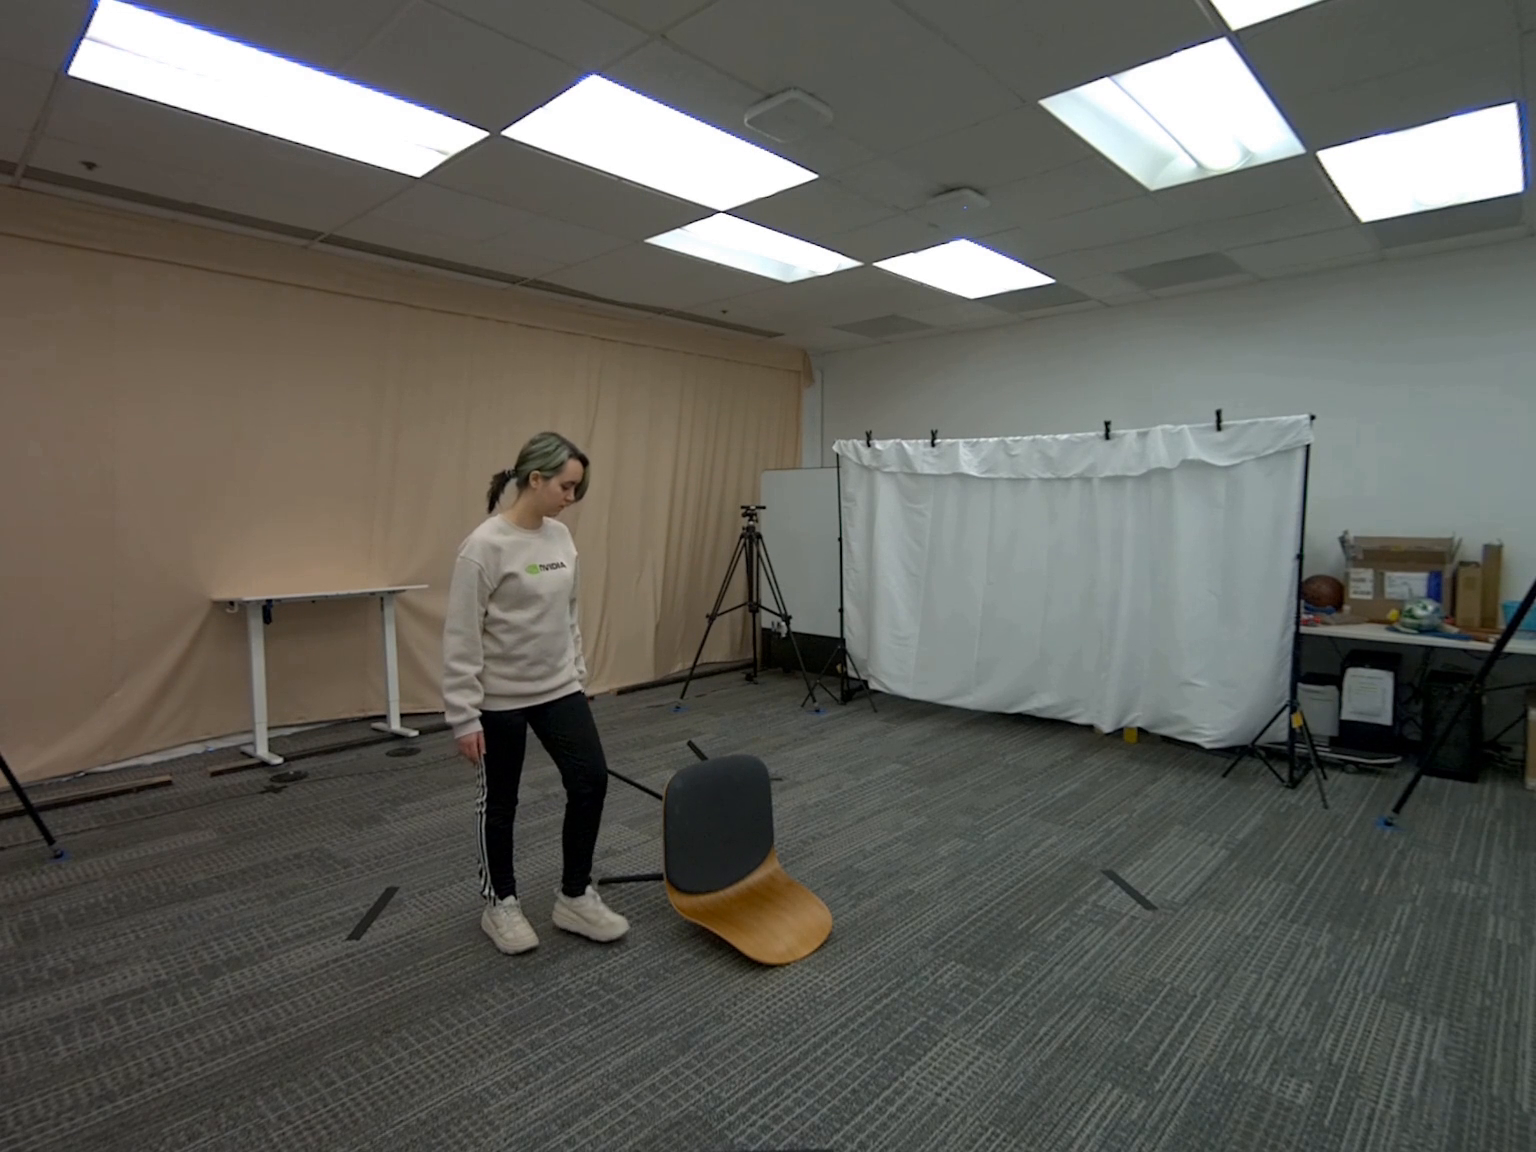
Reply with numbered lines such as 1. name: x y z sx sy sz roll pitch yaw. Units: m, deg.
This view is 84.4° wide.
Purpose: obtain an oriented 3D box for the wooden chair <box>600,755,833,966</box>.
1. wooden chair: -0.187 0.895 2.908 0.464 0.521 0.907 -3 7 -39
